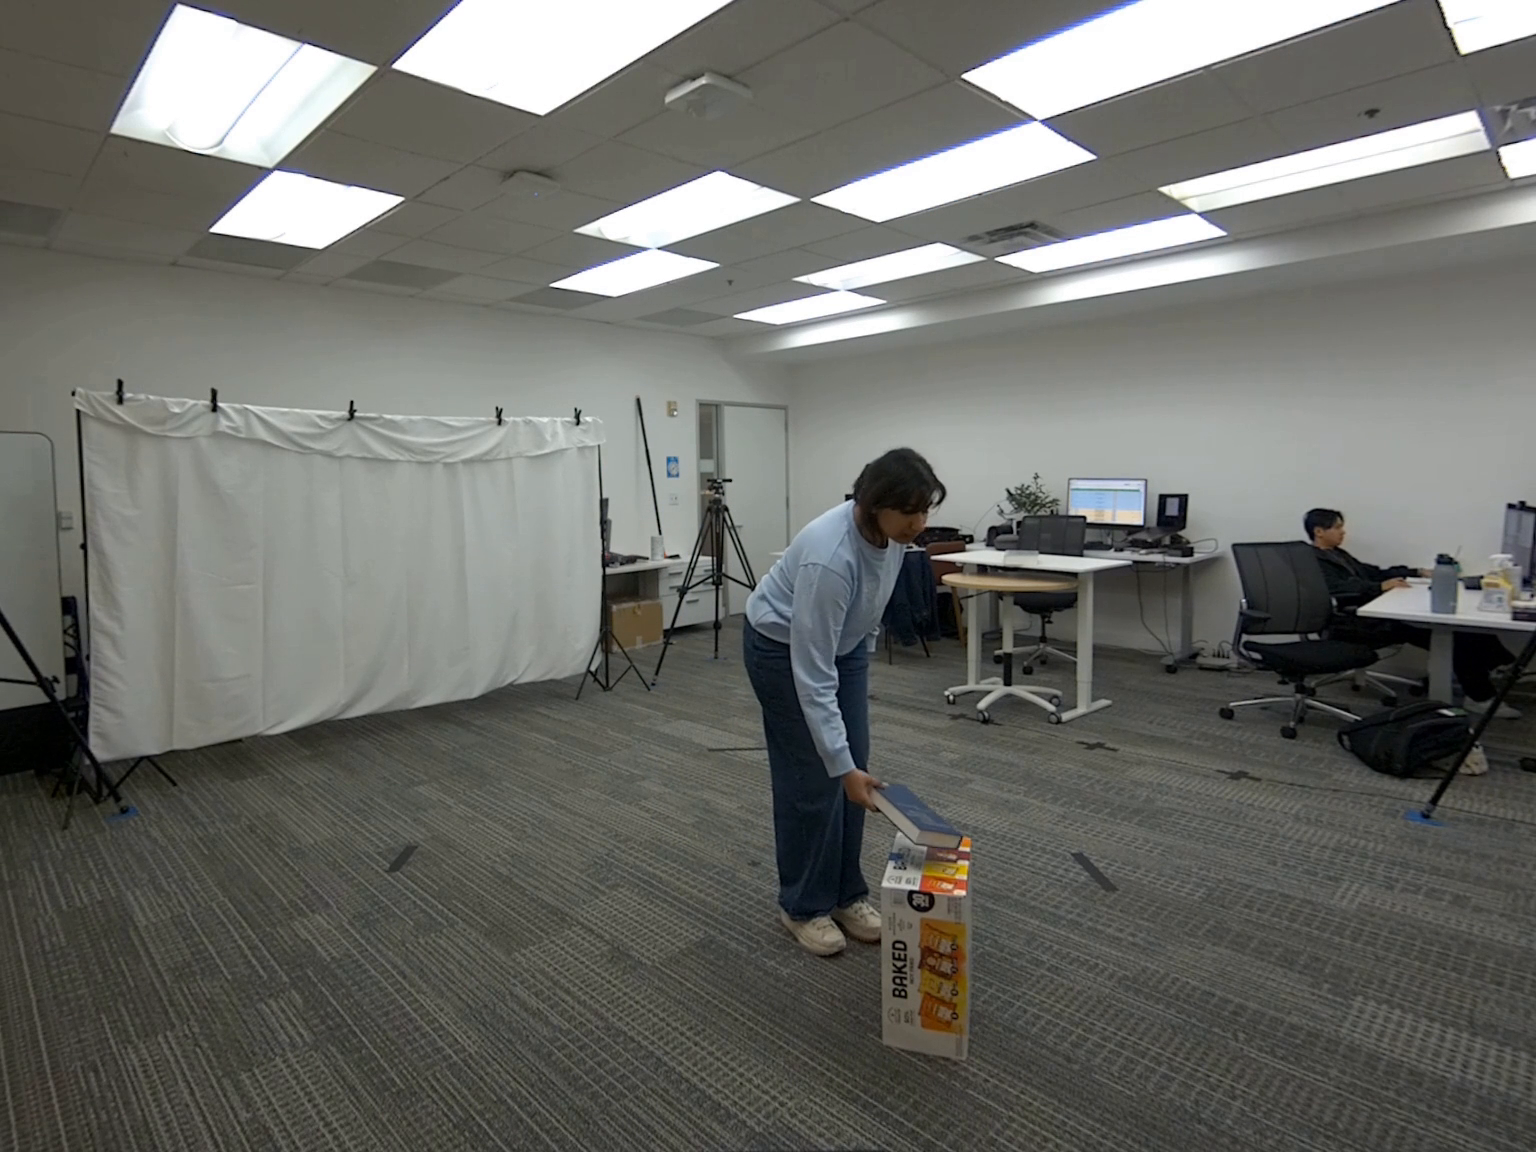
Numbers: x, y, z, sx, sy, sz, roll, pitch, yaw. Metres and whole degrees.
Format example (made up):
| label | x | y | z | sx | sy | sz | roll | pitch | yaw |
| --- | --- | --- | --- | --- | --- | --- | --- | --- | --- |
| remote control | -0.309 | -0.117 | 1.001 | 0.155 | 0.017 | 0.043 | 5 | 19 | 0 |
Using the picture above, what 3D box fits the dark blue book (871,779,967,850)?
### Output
| label | x | y | z | sx | sy | sz | roll | pitch | yaw |
| --- | --- | --- | --- | --- | --- | --- | --- | --- | --- |
| dark blue book | 0.371 | 0.622 | 2.253 | 0.158 | 0.045 | 0.254 | 13 | 12 | -33 |
